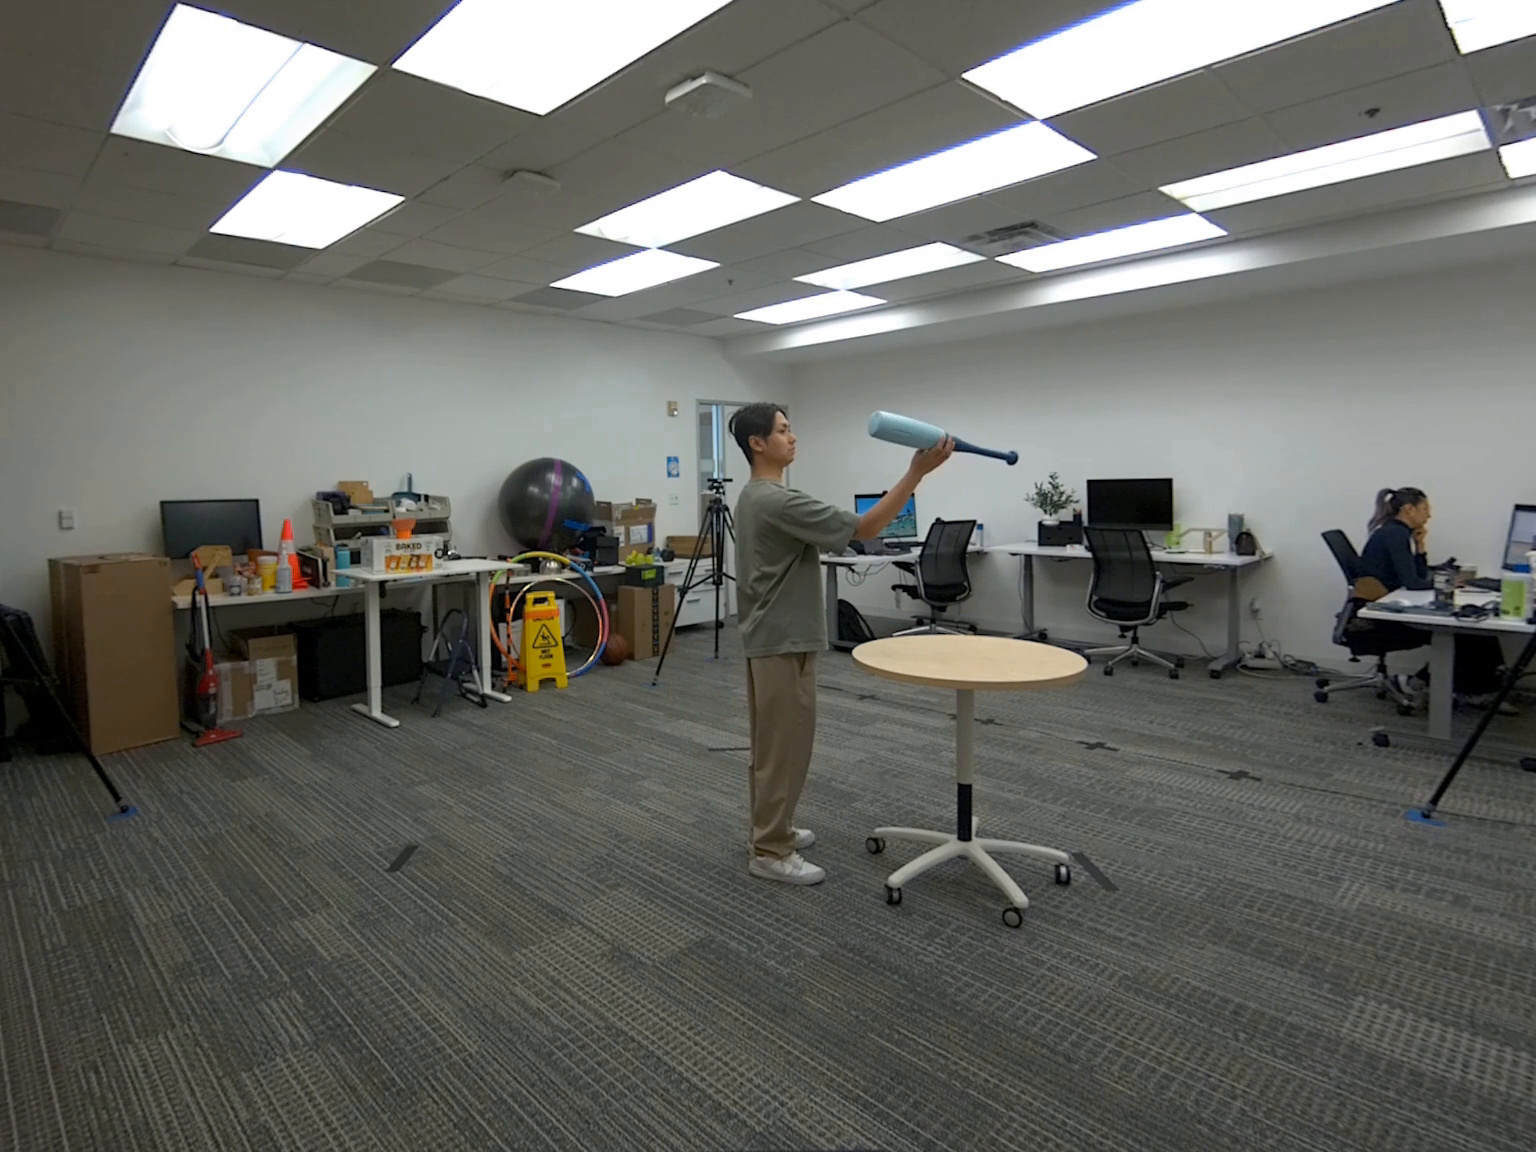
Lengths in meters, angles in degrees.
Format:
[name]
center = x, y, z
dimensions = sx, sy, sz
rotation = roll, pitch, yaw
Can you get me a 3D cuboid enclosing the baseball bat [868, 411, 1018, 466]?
[baseball bat]
center = 0.583, -0.437, 2.780
dimensions = 0.531, 0.089, 0.091
rotation = 11, 0, -20
